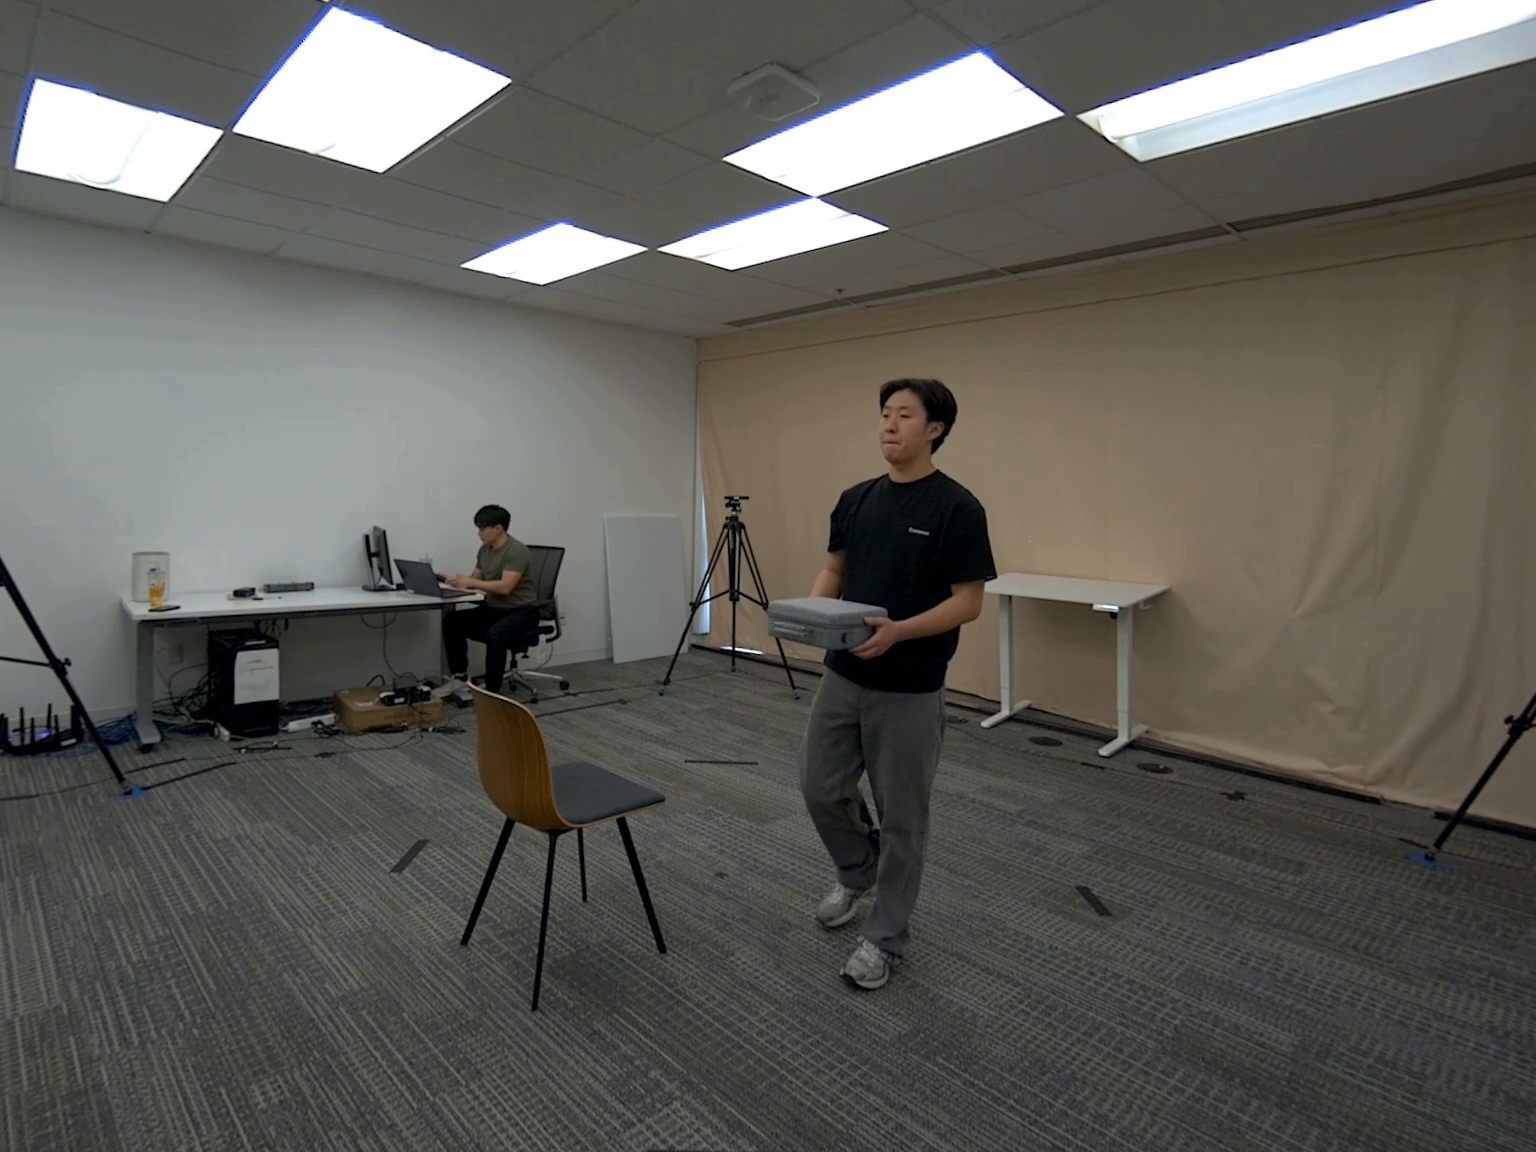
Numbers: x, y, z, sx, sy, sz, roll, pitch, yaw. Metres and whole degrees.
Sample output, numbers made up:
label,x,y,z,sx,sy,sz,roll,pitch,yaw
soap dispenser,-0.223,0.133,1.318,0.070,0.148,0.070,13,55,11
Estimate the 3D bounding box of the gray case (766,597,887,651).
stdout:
label,x,y,z,sx,sy,sz,roll,pitch,yaw
gray case,0.158,0.136,2.309,0.281,0.102,0.270,-3,9,-44
